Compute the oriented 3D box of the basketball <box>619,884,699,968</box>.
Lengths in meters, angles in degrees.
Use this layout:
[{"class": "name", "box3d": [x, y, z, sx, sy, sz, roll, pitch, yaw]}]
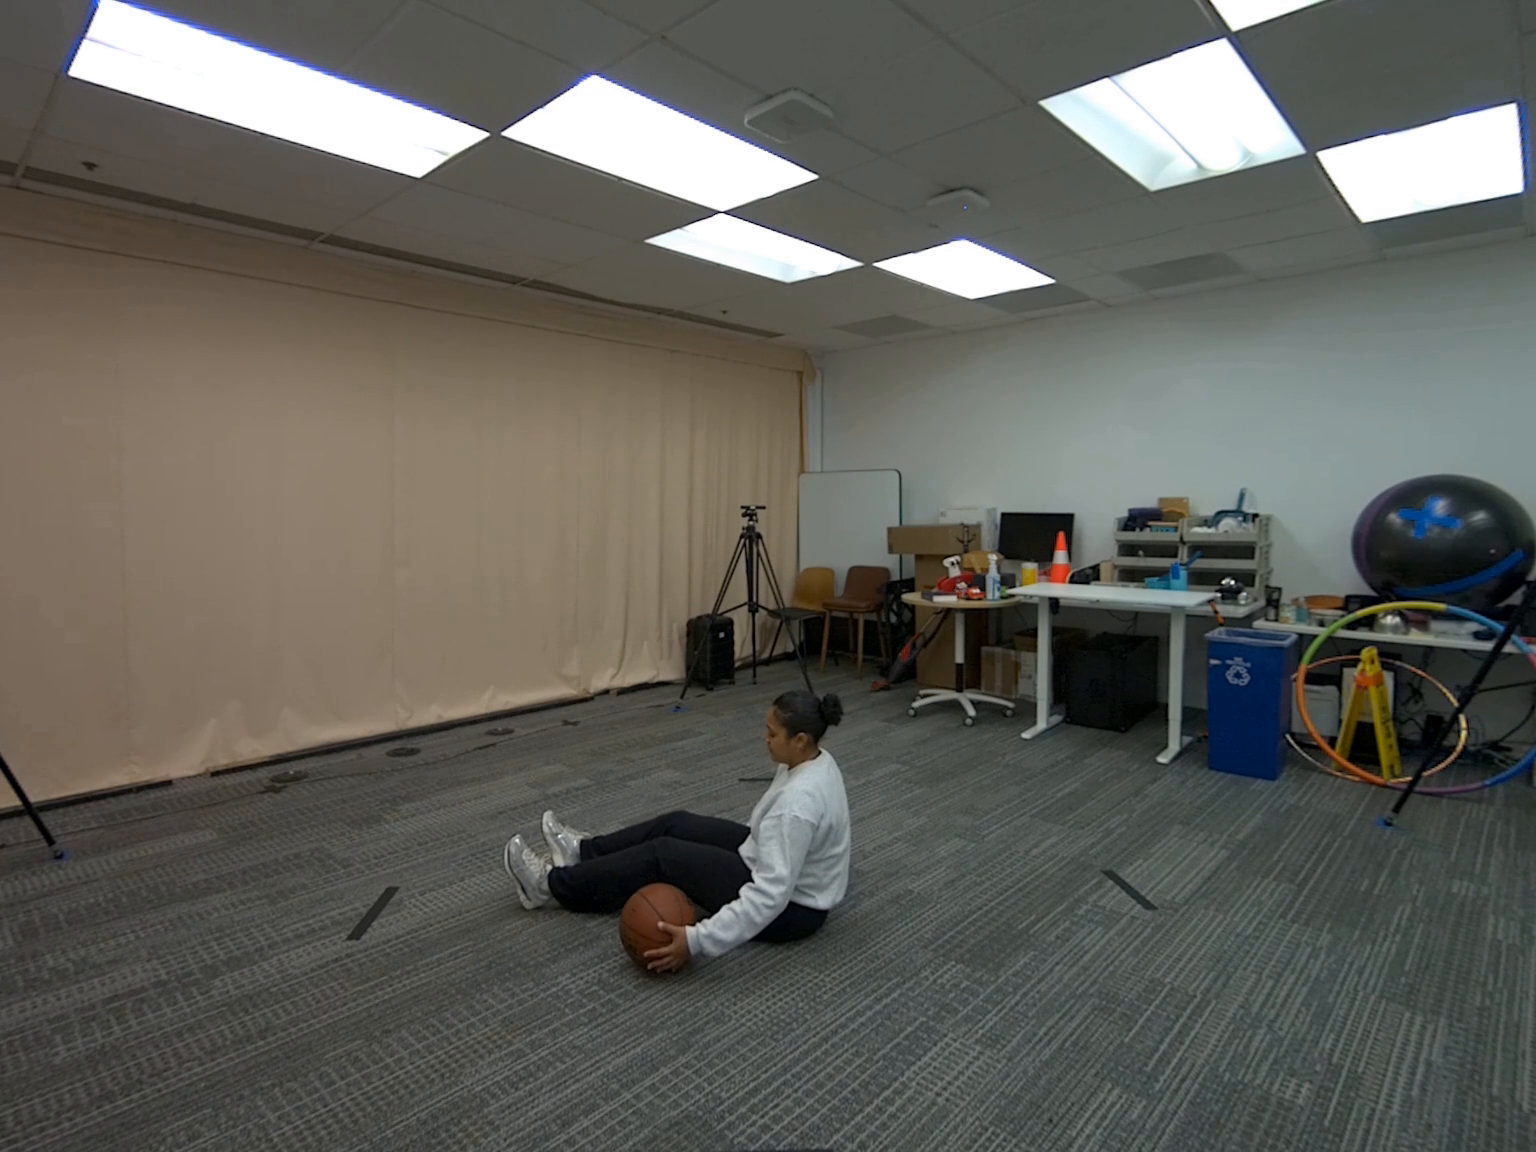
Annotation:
[{"class": "basketball", "box3d": [-0.336, 1.059, 2.563, 0.236, 0.235, 0.237, 0, 4, -2]}]
